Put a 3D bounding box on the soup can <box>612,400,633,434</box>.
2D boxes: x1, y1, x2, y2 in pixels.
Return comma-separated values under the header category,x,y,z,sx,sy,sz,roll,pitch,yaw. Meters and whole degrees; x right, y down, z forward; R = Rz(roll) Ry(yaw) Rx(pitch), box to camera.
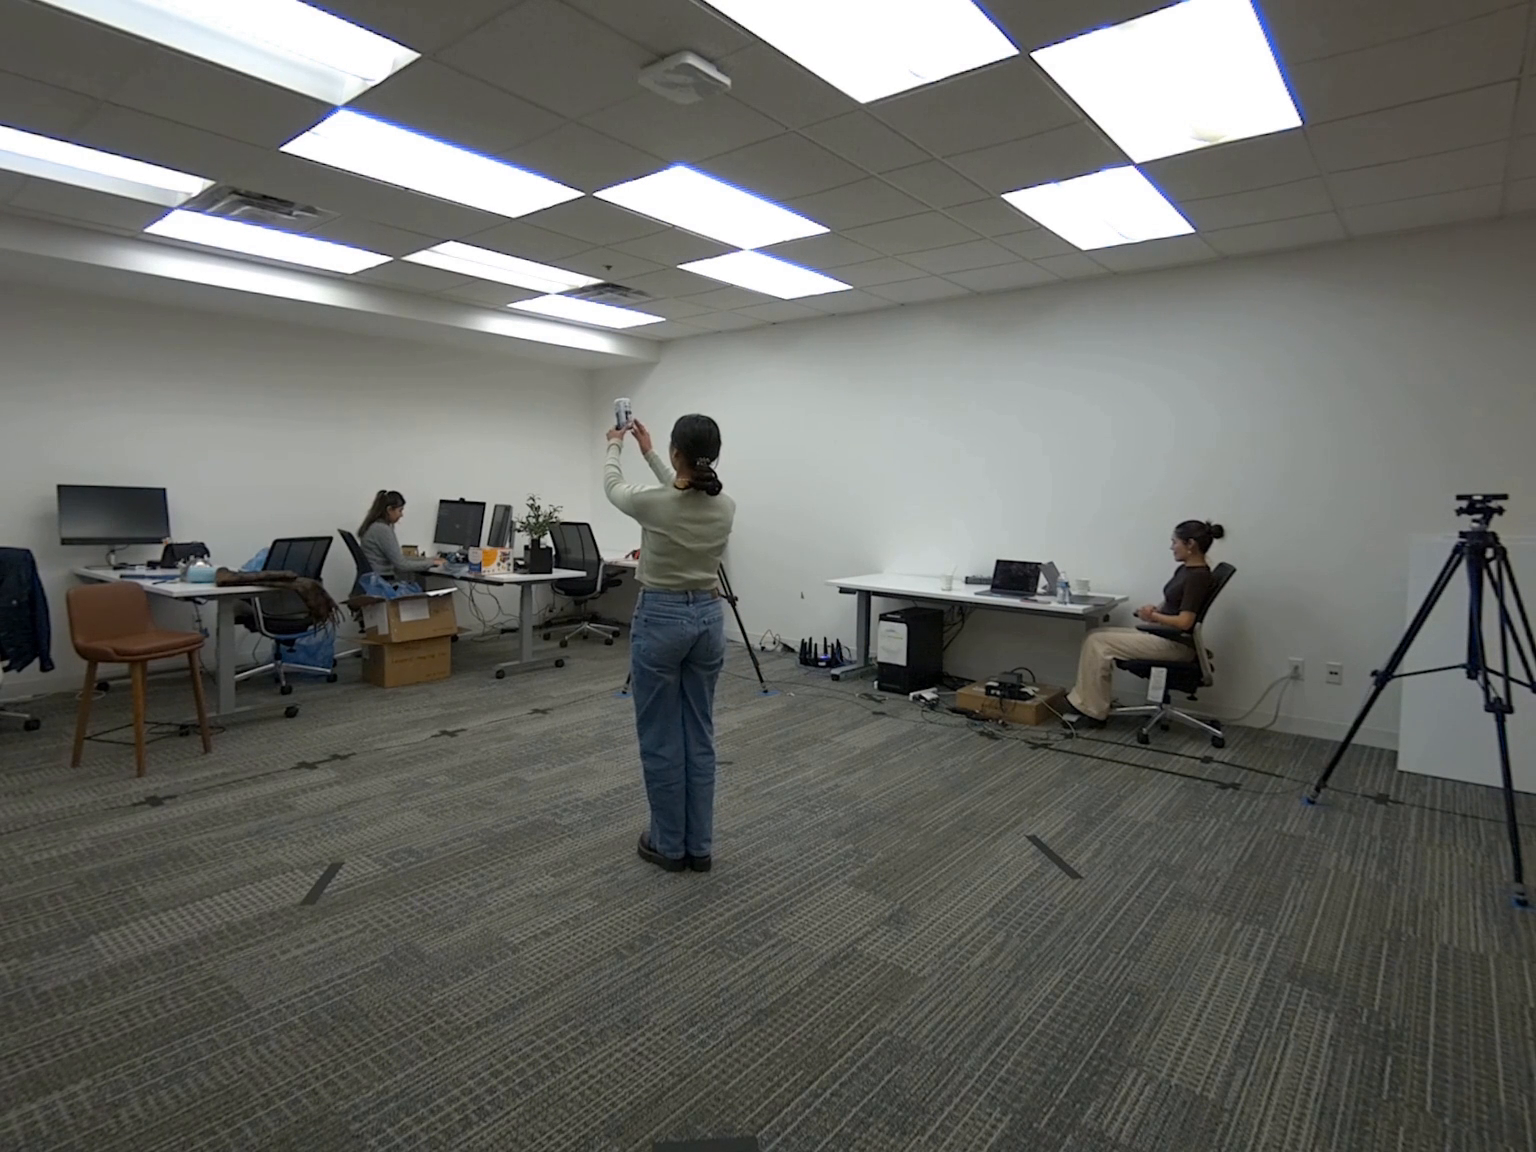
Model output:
category,x,y,z,sx,sy,sz,roll,pitch,yaw
soup can,-0.597,-0.655,3.464,0.067,0.122,0.067,-9,-4,-2
